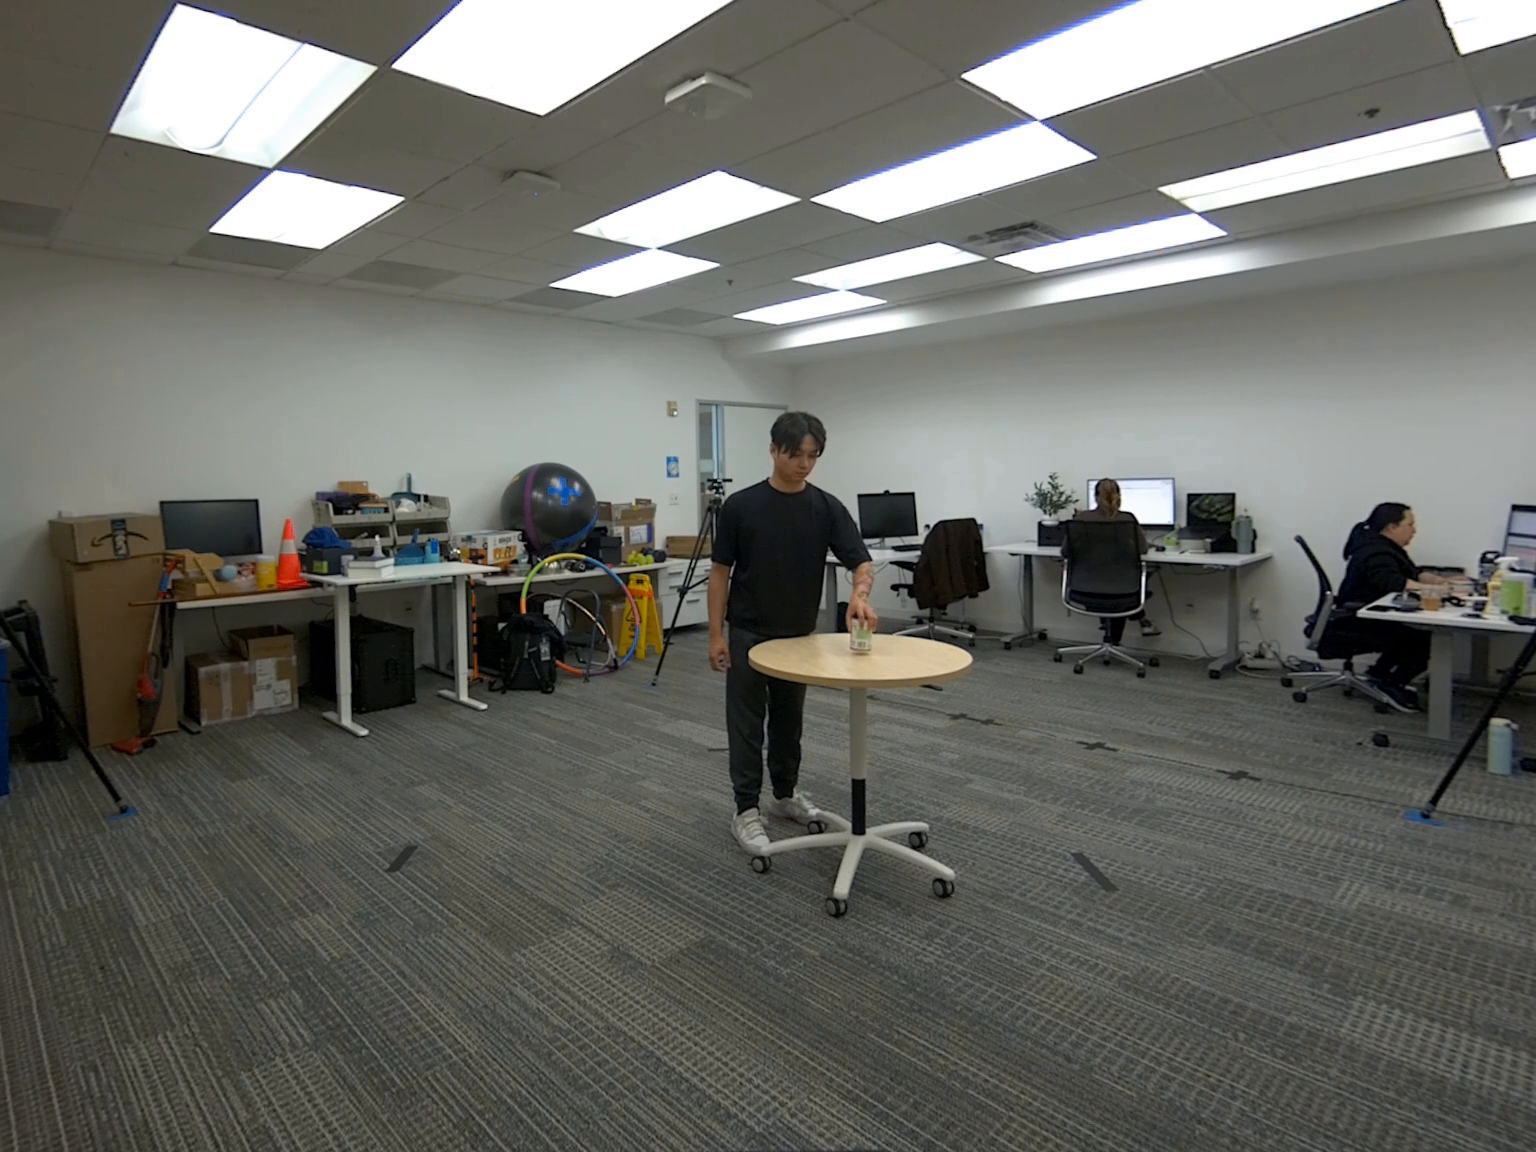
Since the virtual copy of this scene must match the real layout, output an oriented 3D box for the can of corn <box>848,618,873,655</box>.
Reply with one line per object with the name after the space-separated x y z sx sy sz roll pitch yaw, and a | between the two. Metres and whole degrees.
0.337 0.202 2.962 0.074 0.110 0.074 0 5 -2 | can of corn
